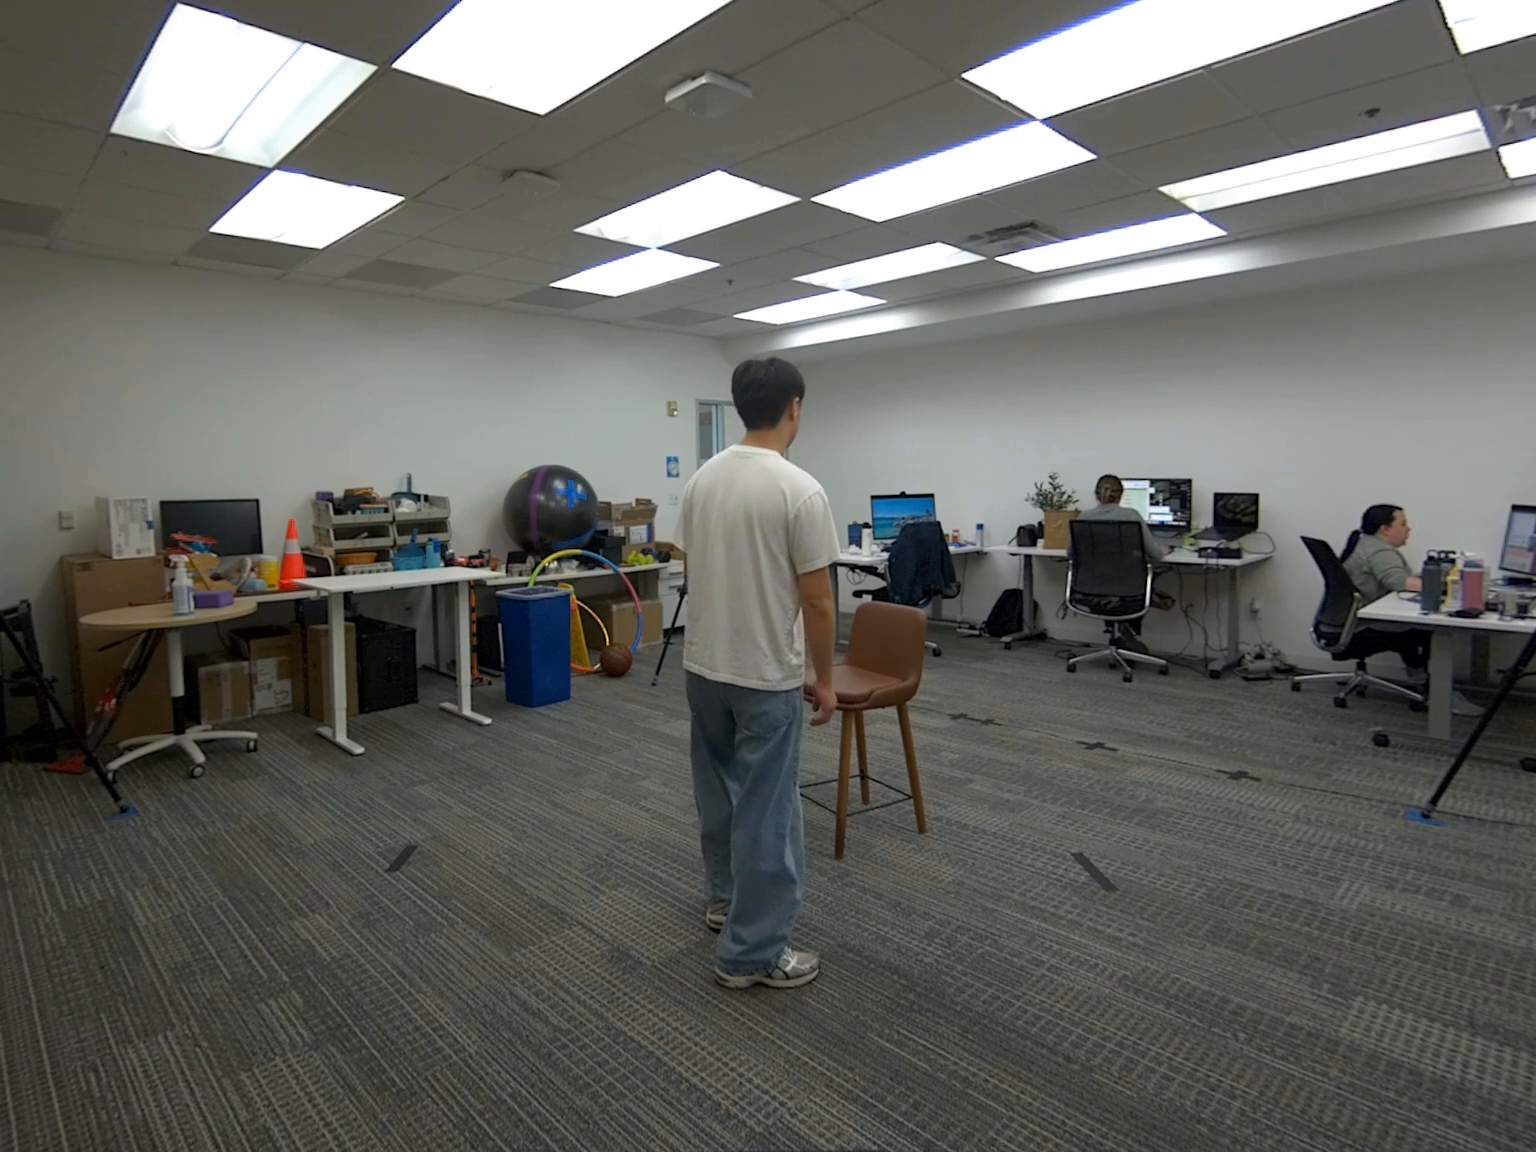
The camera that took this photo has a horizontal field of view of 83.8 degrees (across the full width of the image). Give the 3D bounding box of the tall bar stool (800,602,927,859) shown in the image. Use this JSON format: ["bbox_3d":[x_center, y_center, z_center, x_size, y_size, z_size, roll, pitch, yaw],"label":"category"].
[{"bbox_3d":[0.337,0.569,3.386,0.456,0.887,0.469,-1,4,-32],"label":"tall bar stool"}]
